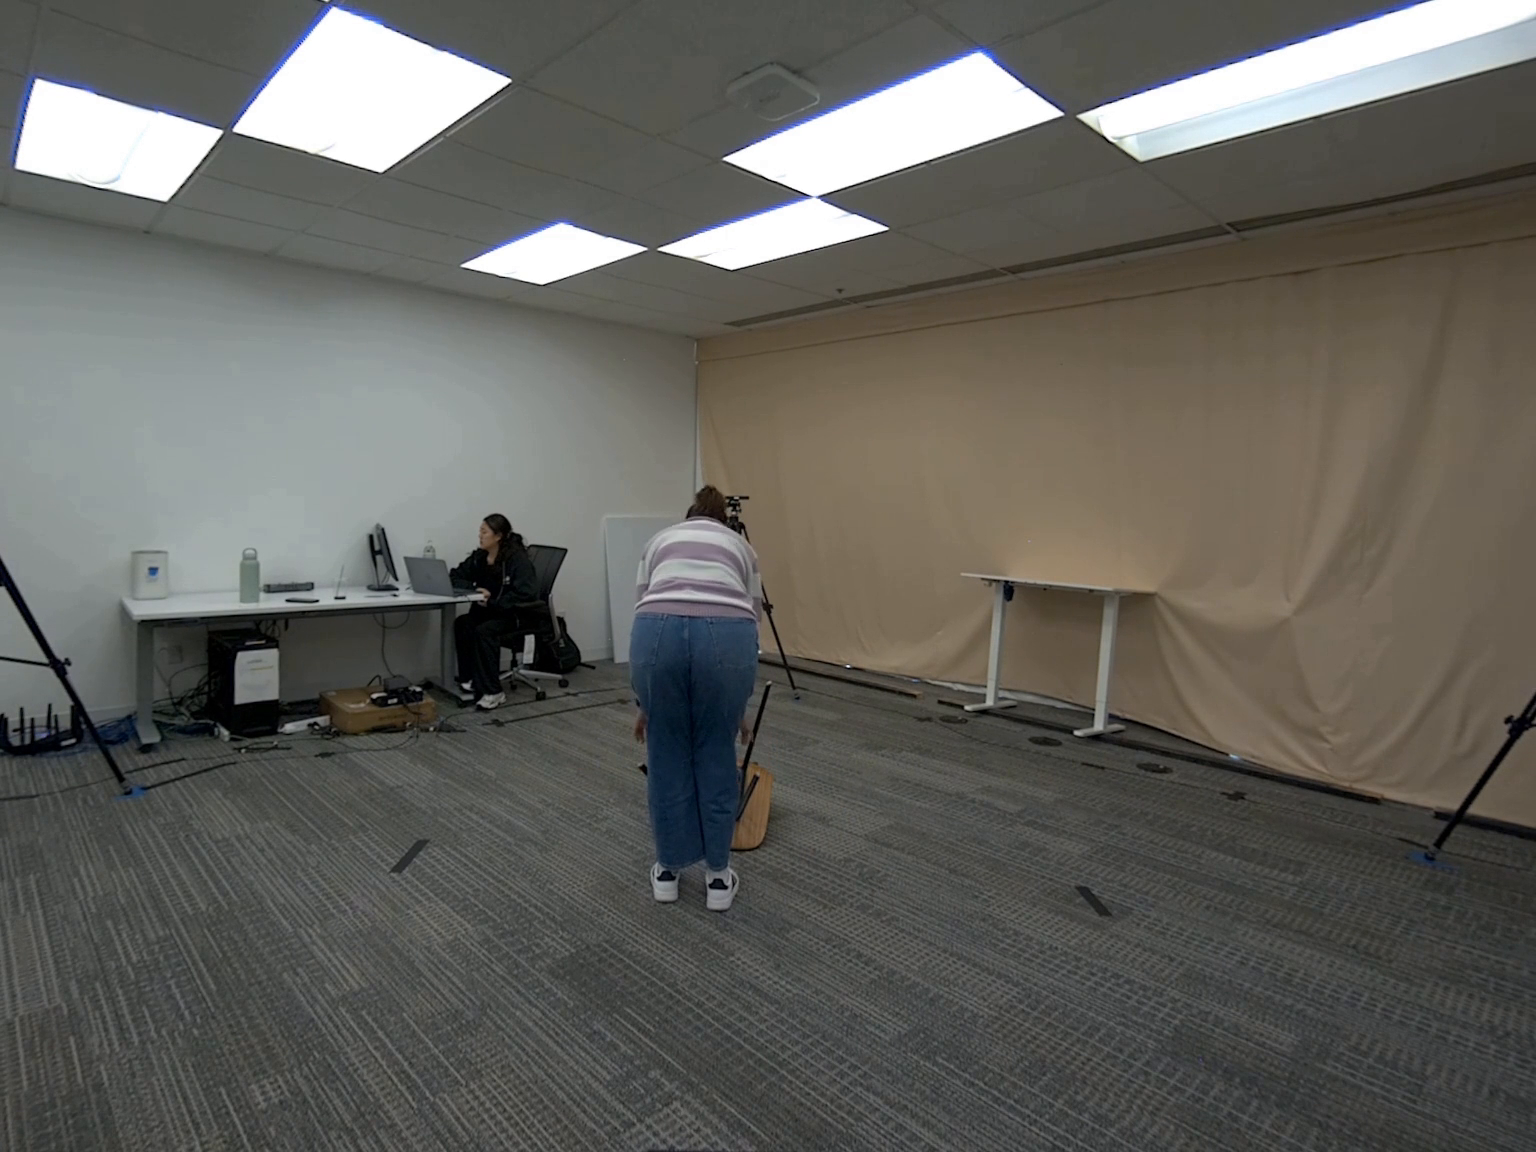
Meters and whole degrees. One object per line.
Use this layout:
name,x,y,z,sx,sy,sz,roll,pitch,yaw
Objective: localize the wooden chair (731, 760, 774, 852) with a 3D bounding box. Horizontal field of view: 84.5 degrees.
wooden chair,-0.234,0.897,3.511,0.481,0.857,0.532,3,44,6
